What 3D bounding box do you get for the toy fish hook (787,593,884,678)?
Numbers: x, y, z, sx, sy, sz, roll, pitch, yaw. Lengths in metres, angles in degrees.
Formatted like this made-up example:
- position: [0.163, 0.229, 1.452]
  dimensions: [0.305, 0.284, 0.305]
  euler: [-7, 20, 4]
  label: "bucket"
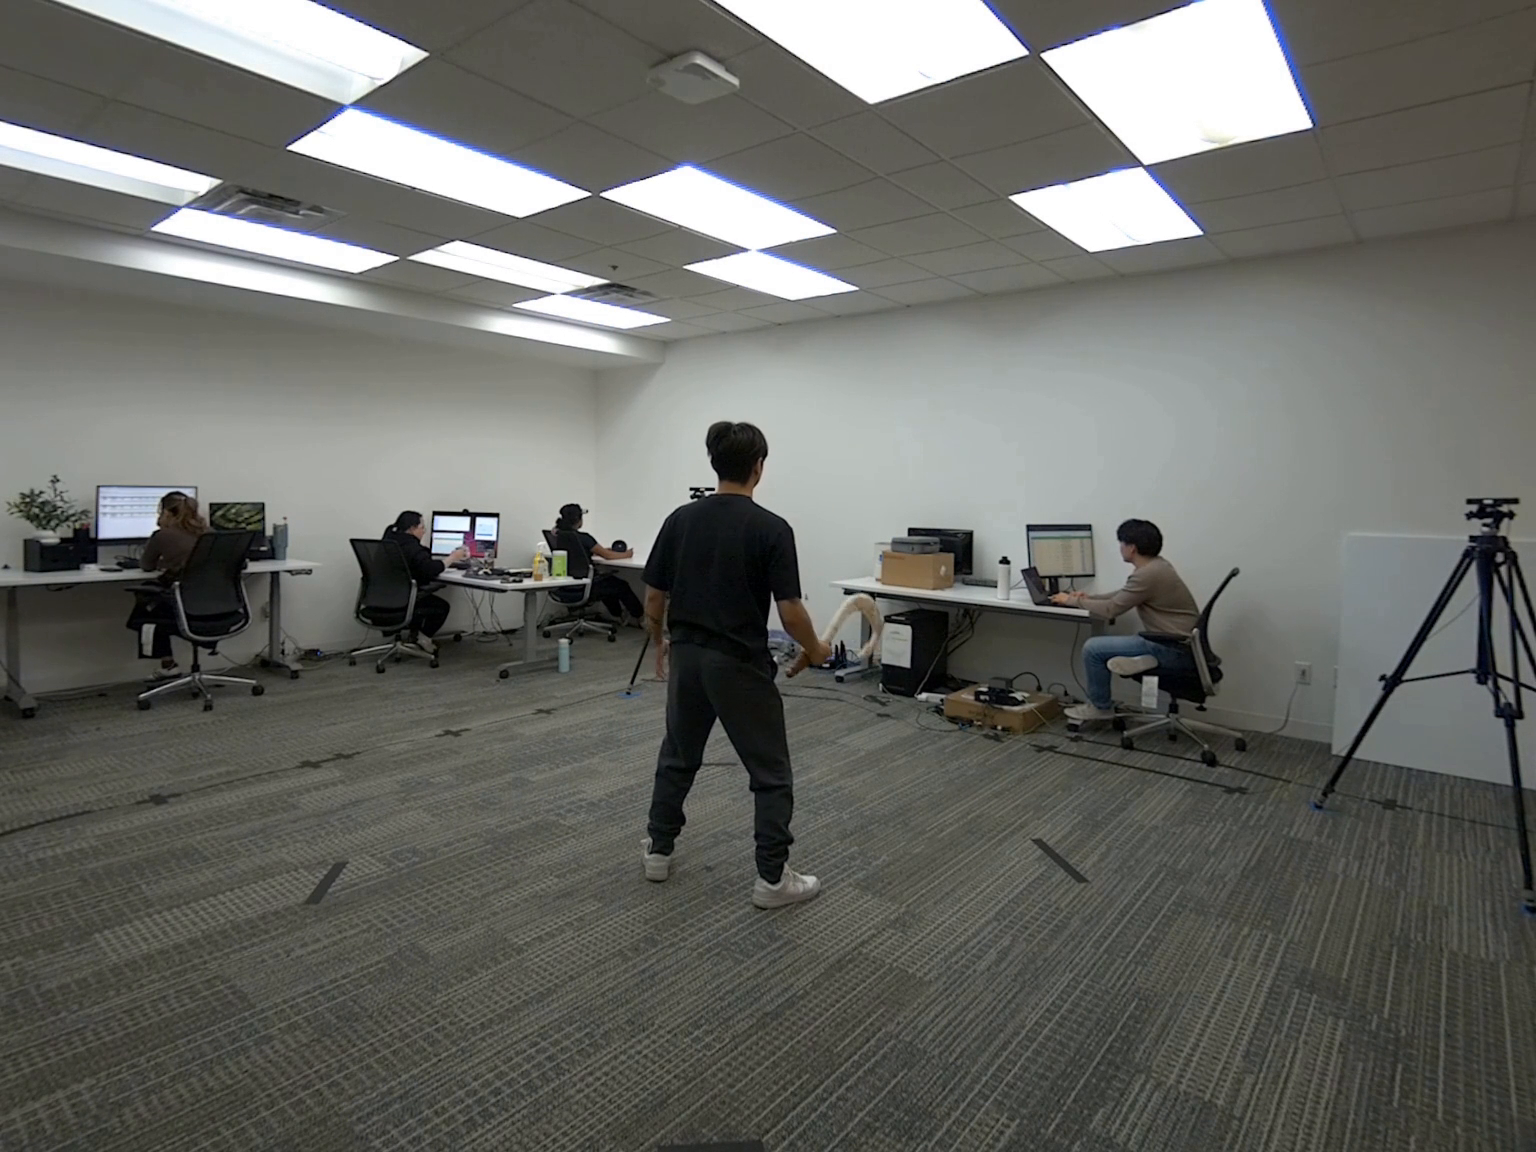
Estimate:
- position: [0.236, 0.229, 3.102]
  dimensions: [0.503, 0.222, 0.049]
  euler: [-39, 11, -33]
  label: "toy fish hook"
